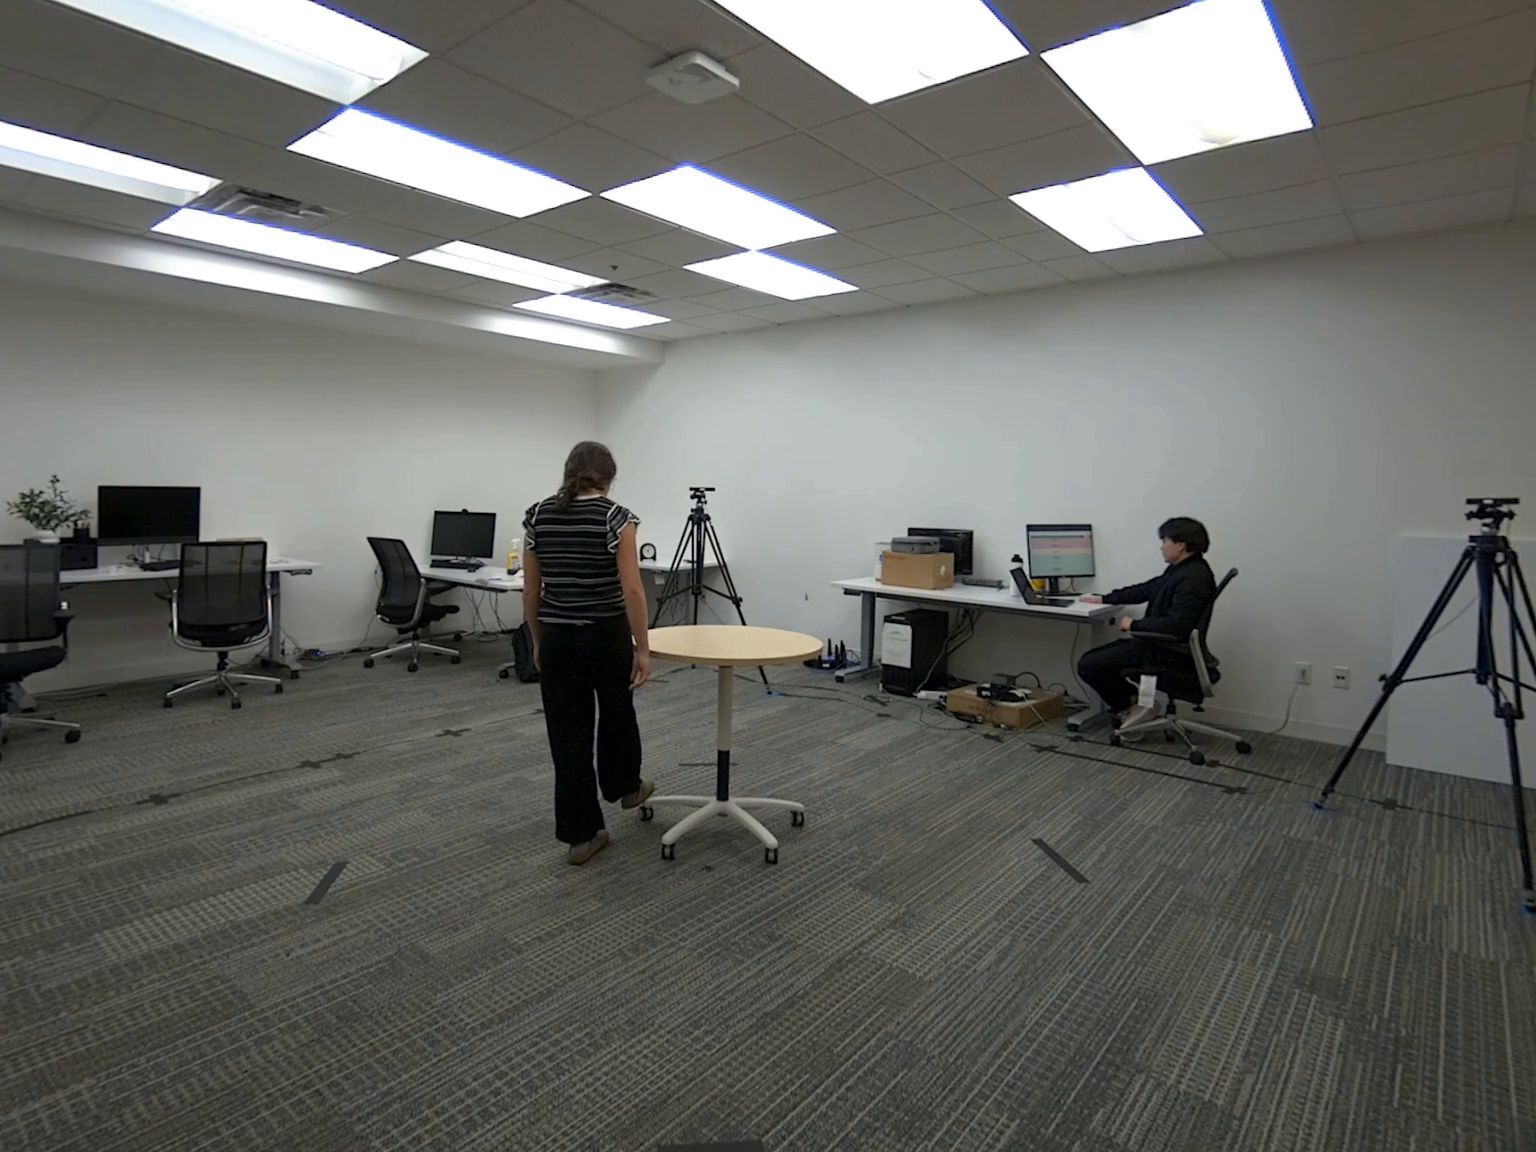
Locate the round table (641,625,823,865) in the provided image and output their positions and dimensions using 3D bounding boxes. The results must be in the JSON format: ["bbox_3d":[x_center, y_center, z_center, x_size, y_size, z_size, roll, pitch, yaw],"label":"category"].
[{"bbox_3d":[-0.196,0.645,3.412,0.784,0.784,0.788,1,4,-2],"label":"round table"}]
